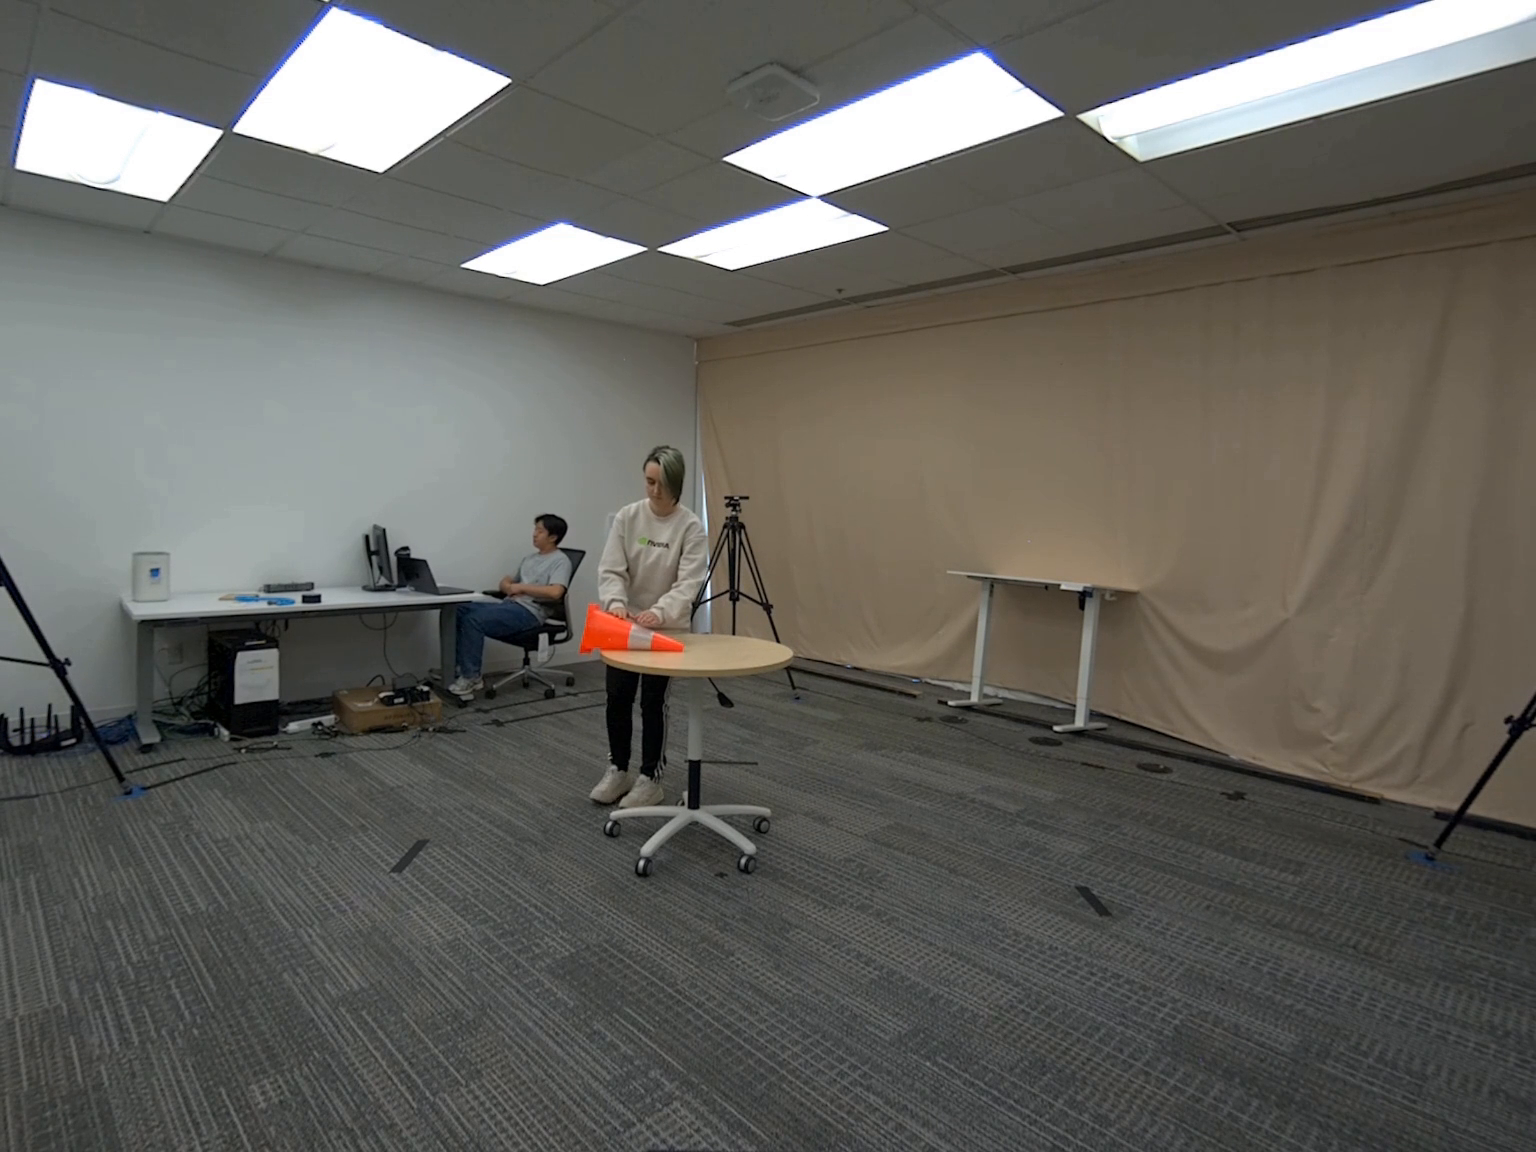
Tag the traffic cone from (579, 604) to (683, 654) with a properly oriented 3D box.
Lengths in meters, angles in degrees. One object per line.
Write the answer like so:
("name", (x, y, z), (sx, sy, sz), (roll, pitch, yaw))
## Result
("traffic cone", (-0.535, 0.250, 3.324), (0.385, 0.204, 0.204), (13, -4, 4))
